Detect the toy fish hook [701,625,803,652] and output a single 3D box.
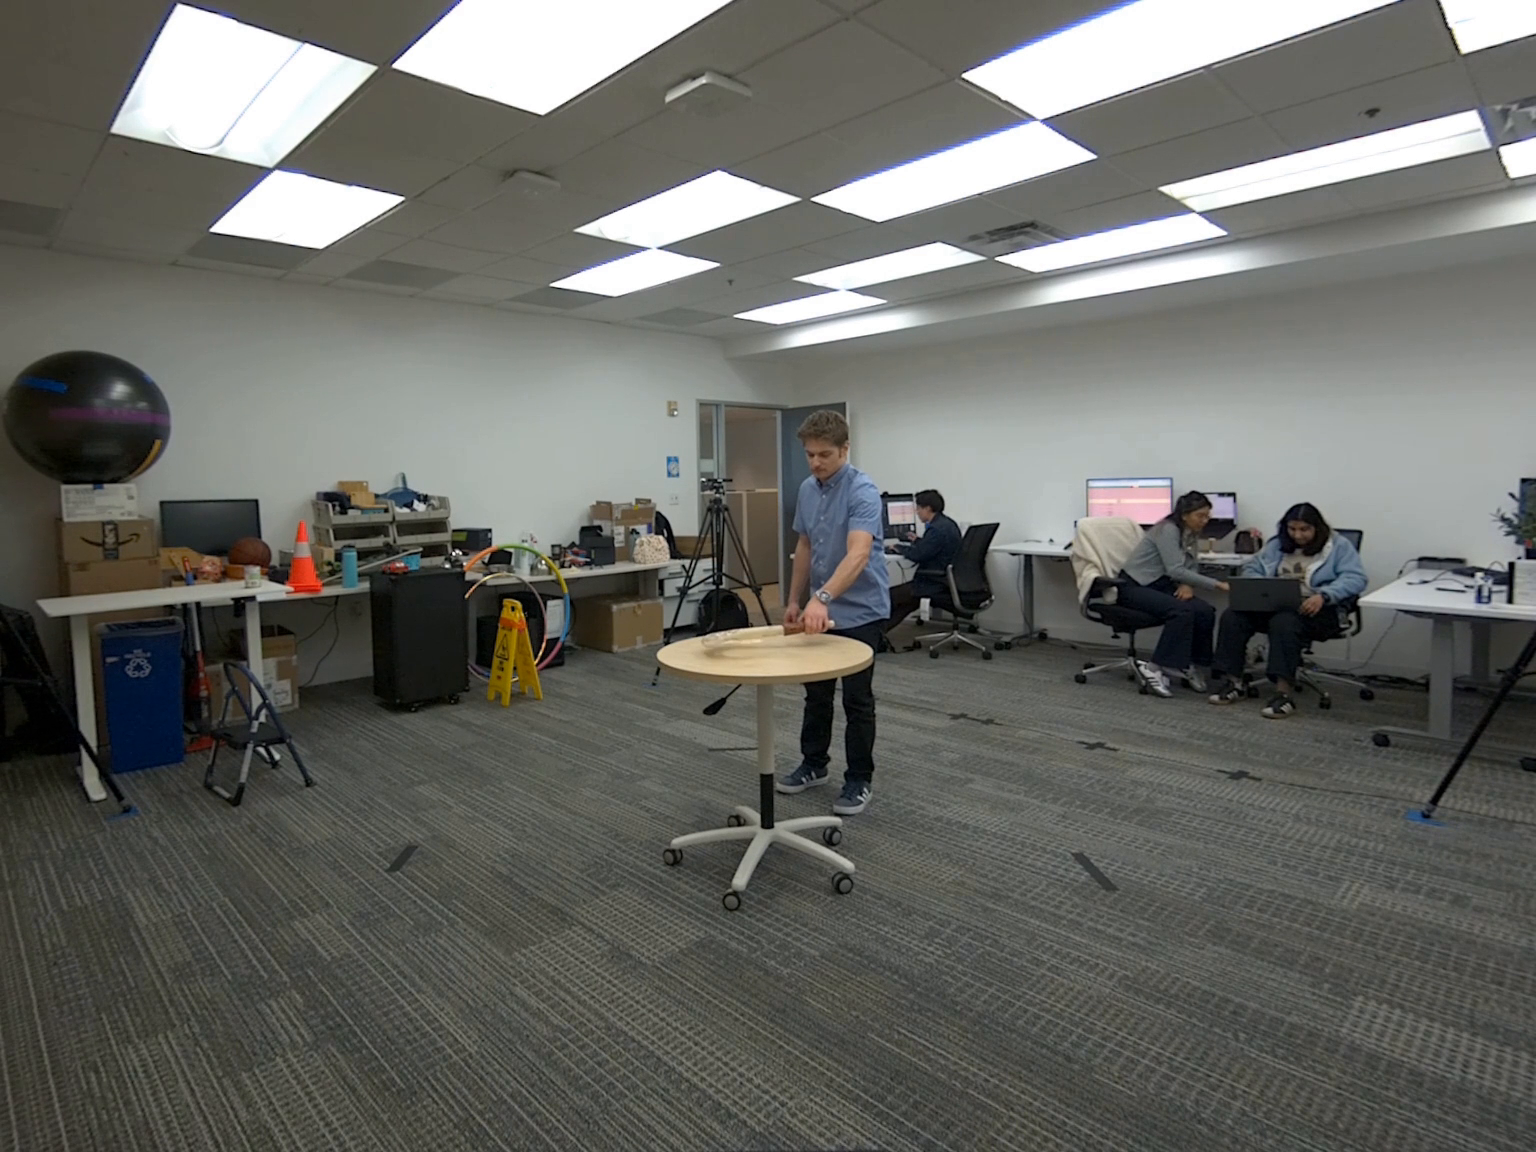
[{"bbox_3d":[0.026,0.215,3.036,0.502,0.048,0.228,-9,10,-10],"label":"toy fish hook"}]
